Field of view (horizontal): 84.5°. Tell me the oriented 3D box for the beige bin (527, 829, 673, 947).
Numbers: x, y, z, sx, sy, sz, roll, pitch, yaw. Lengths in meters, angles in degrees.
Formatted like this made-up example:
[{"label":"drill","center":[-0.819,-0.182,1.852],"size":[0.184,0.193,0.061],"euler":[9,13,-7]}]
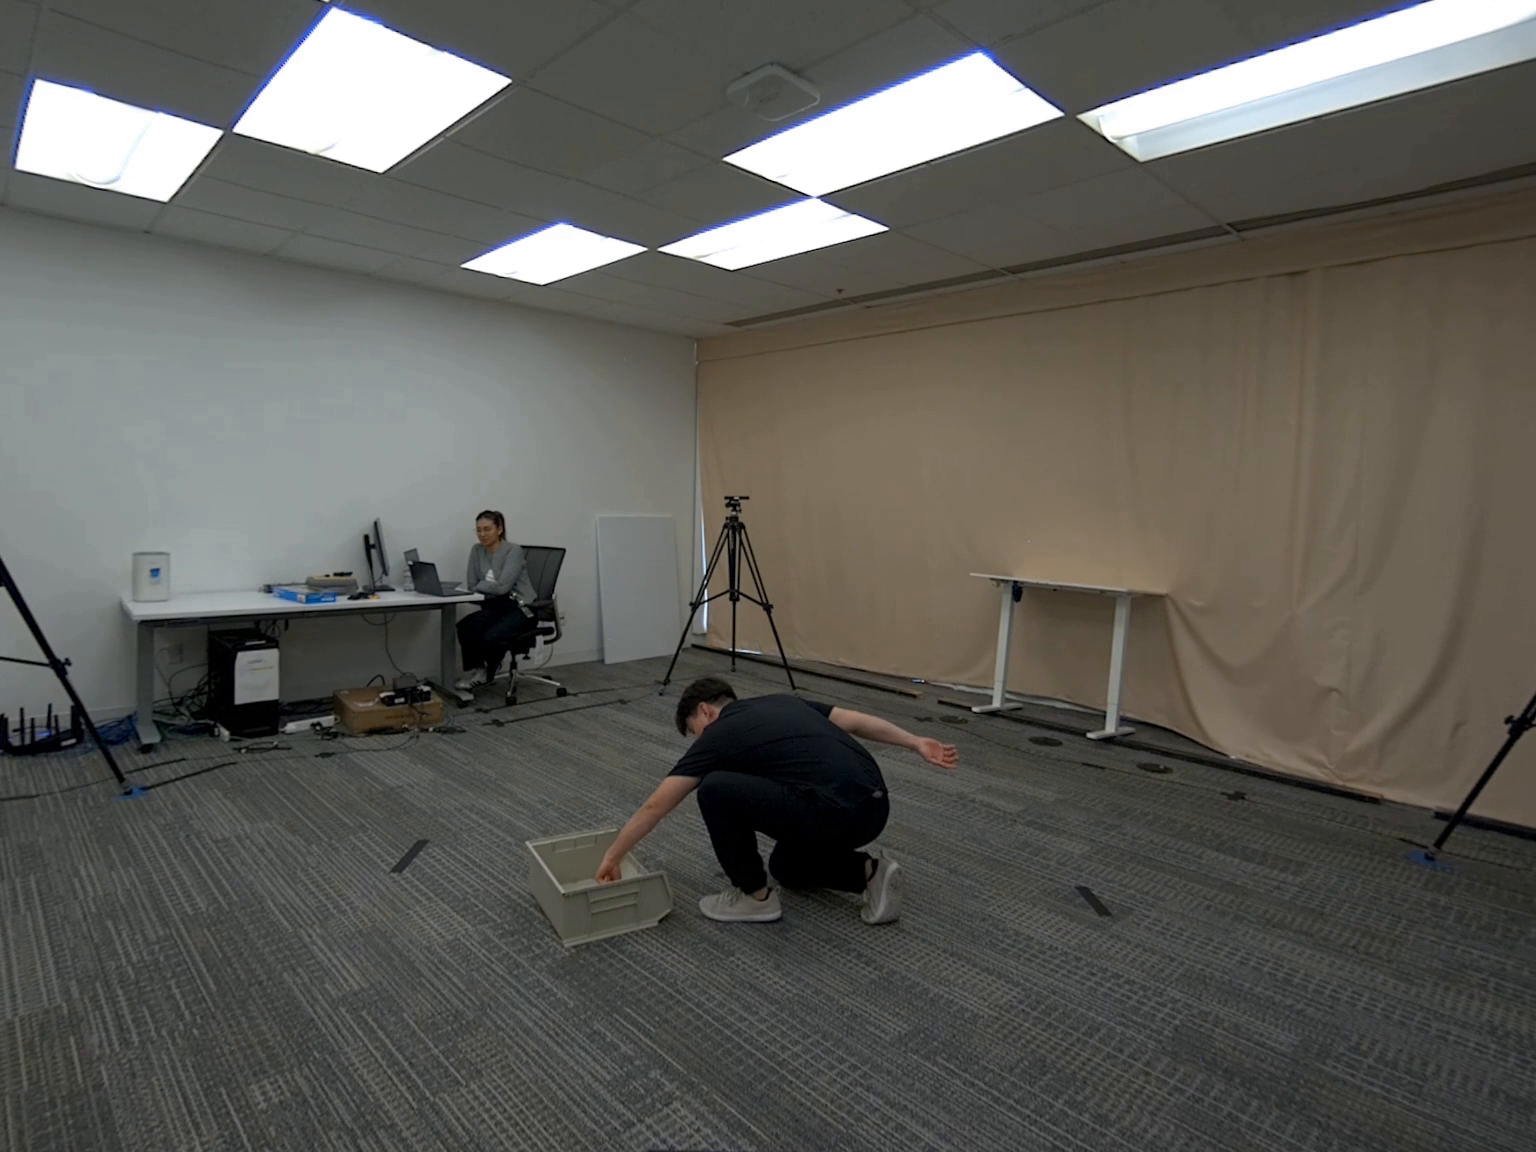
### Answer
[{"label":"beige bin","center":[-0.575,1.024,2.841],"size":[0.370,0.188,0.432],"euler":[-2,7,-30]}]
